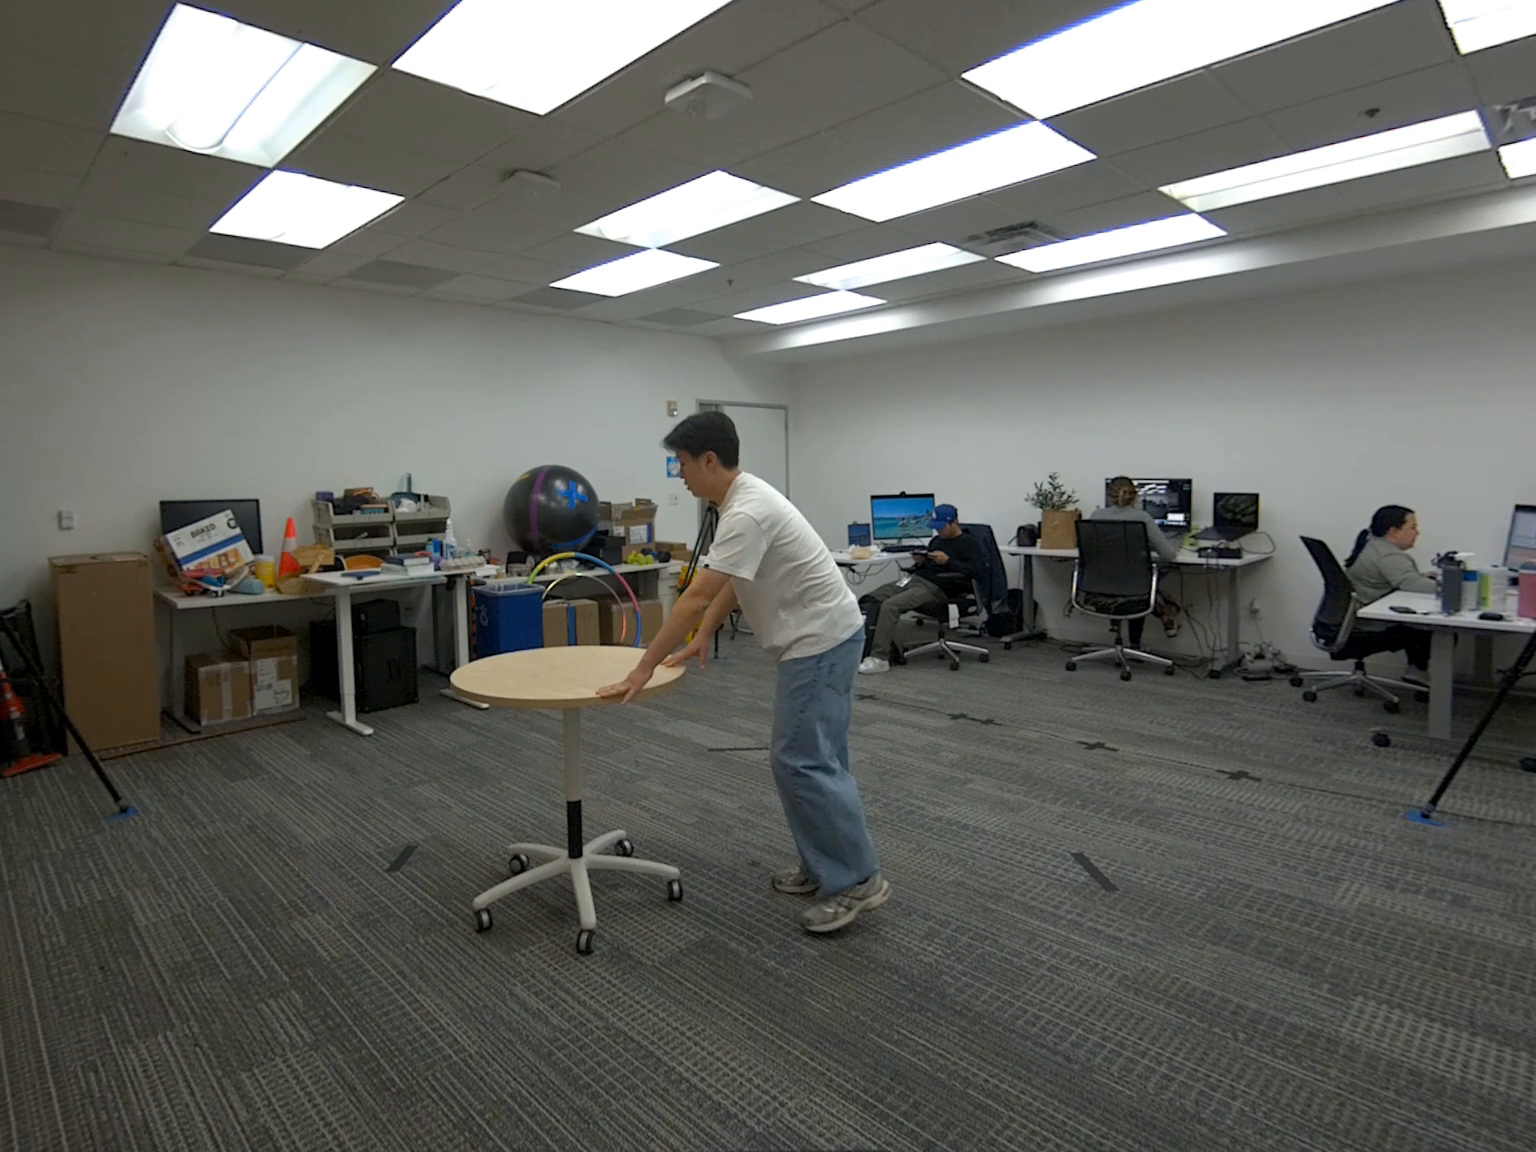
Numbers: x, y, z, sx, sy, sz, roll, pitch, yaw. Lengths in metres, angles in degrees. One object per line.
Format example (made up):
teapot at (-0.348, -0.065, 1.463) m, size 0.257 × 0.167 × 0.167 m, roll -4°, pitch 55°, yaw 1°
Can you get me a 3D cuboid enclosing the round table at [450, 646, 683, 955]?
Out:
round table at (-0.634, 0.700, 2.852) m, size 0.763 × 0.790 × 0.768 m, roll -1°, pitch 5°, yaw -2°
